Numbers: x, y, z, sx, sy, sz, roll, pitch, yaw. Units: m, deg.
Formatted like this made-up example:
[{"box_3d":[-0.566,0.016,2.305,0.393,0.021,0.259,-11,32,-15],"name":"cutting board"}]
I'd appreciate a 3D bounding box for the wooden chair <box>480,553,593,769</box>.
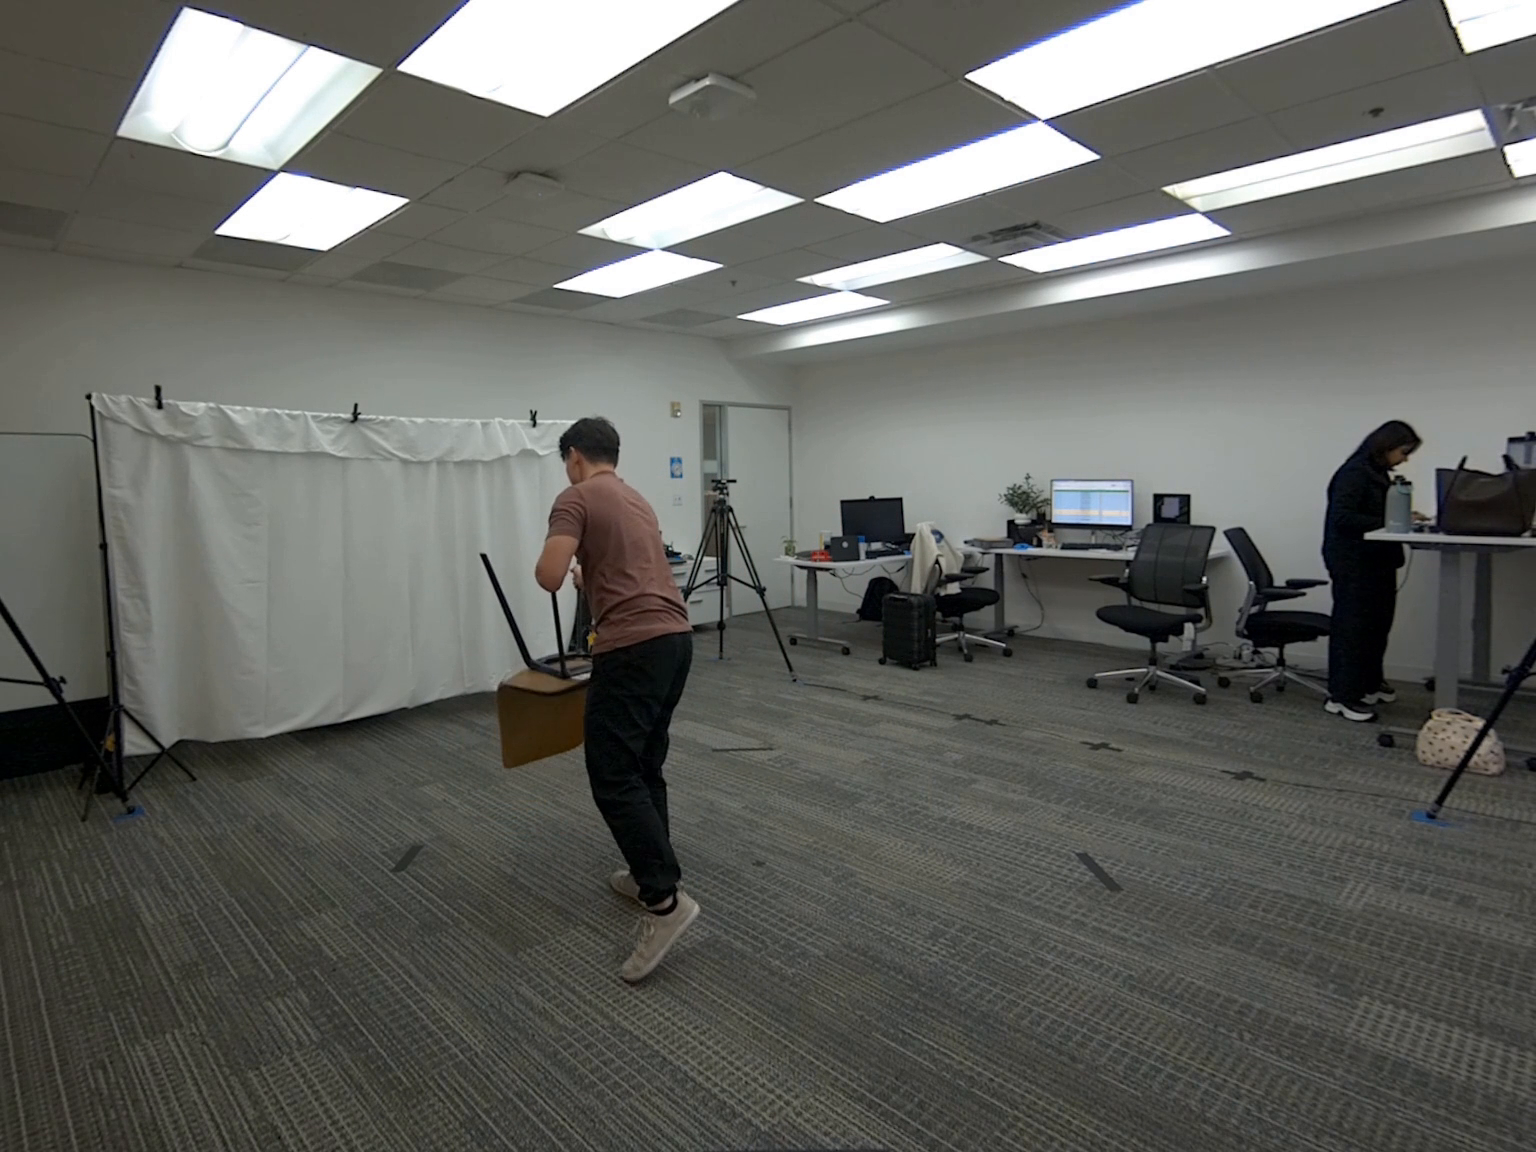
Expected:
[{"box_3d":[-0.727,0.328,3.179,0.539,0.874,0.465,5,6,42],"name":"wooden chair"}]
